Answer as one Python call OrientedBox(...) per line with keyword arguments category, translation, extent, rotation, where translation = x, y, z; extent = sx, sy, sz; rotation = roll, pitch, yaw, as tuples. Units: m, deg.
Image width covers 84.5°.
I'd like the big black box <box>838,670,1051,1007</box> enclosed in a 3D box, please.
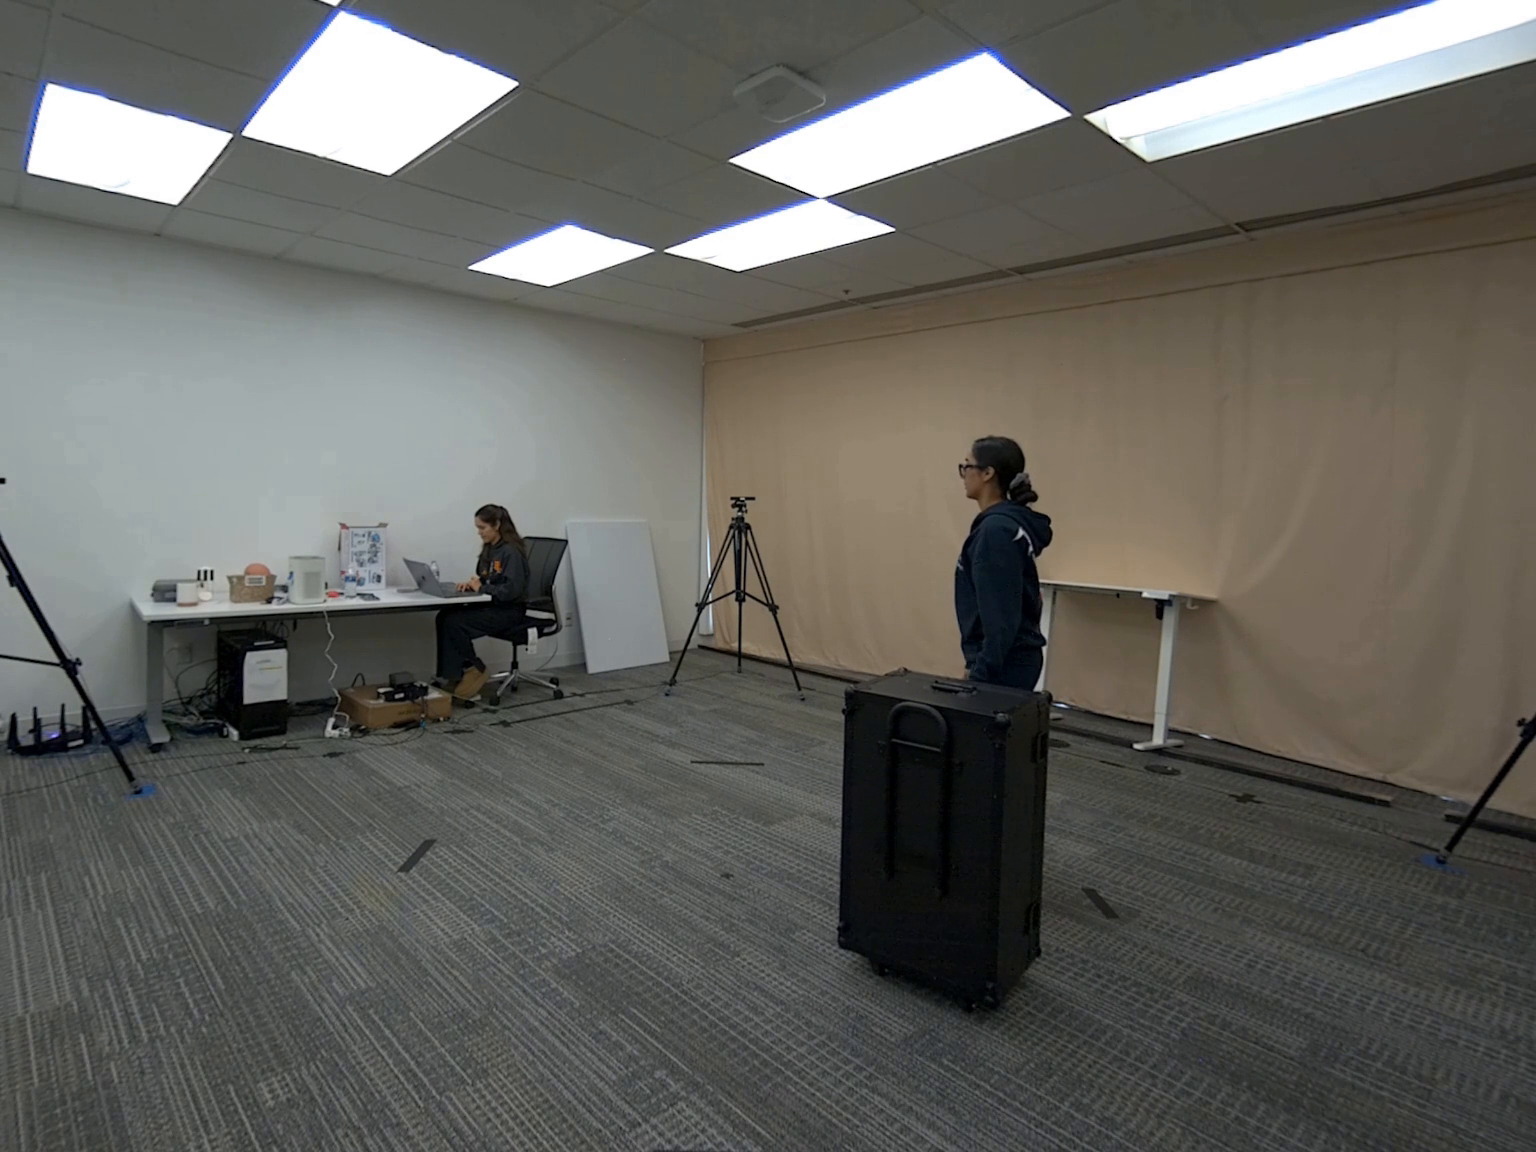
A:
OrientedBox(category="big black box", translation=(0.511, 0.756, 2.460), extent=(0.534, 0.858, 0.388), rotation=(4, 6, 38))
